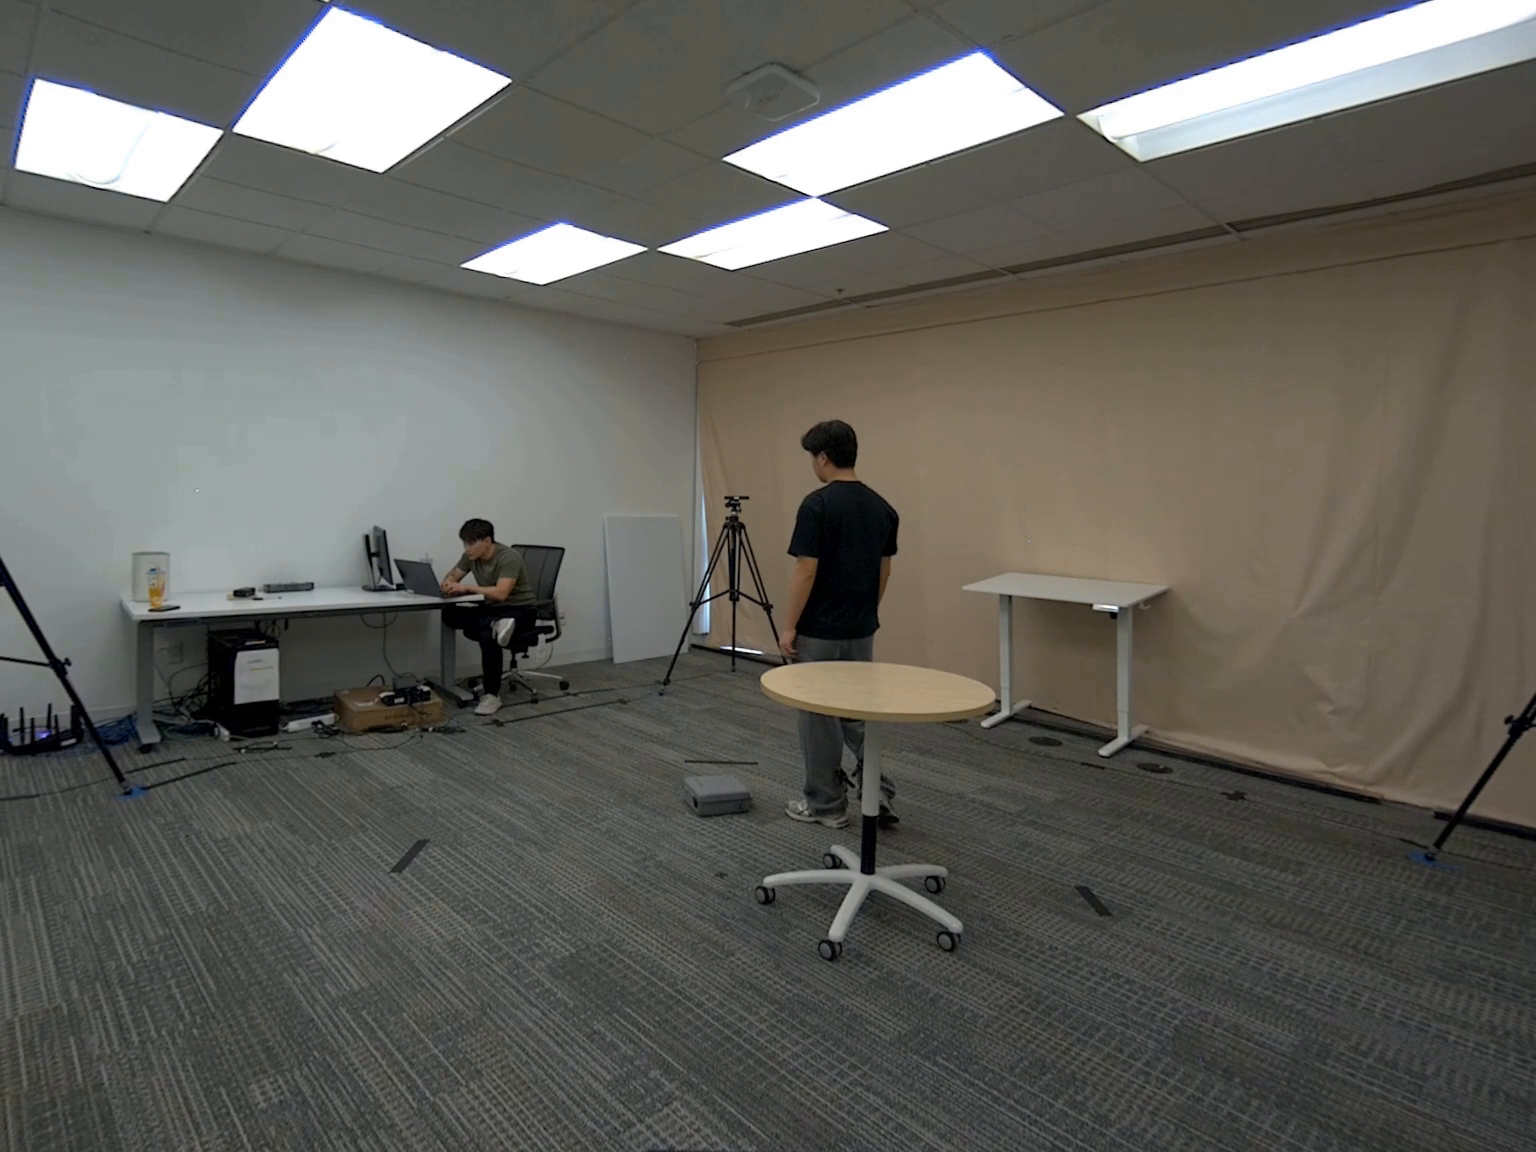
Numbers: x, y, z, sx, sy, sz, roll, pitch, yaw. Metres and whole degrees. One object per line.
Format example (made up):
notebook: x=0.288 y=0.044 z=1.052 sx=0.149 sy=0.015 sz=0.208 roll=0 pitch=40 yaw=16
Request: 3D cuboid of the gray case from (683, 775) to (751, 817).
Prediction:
gray case: x=-0.231 y=0.982 z=3.812 sx=0.282 sy=0.103 sz=0.268 roll=1 pitch=6 yaw=-22
